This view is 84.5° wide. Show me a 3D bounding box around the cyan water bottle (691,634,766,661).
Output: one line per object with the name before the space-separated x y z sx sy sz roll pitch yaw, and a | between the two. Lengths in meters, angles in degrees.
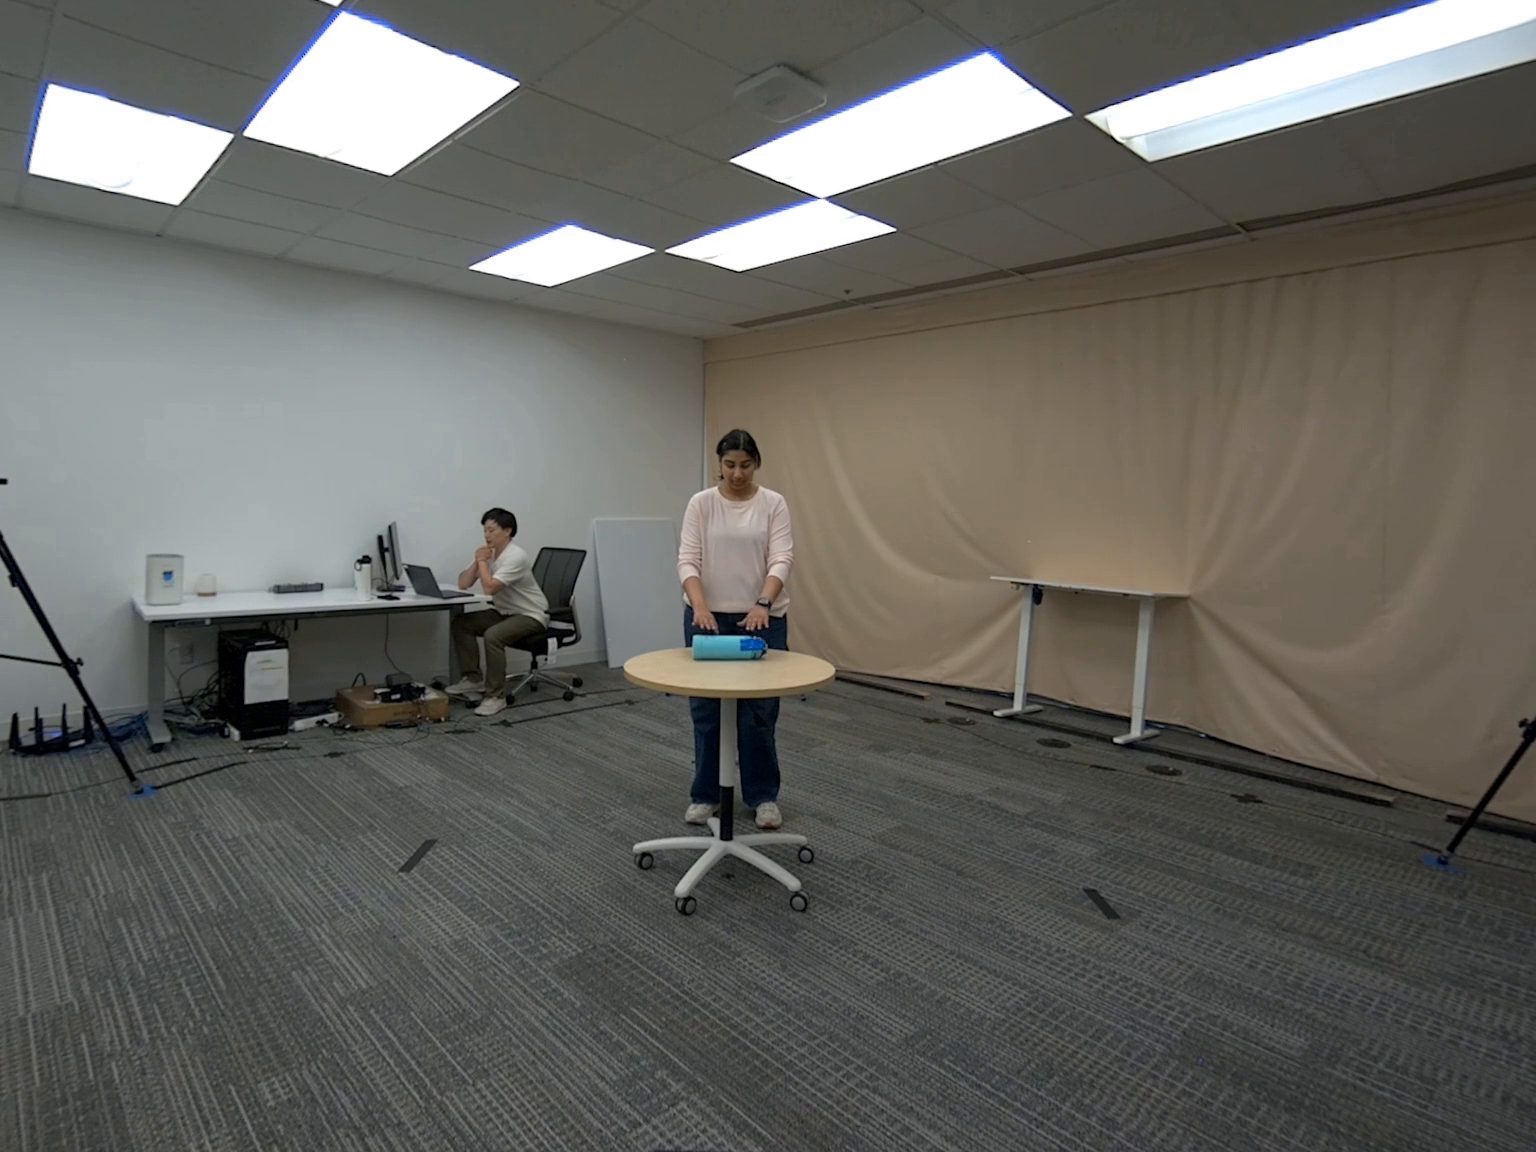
cyan water bottle | -0.151 0.271 3.177 0.282 0.092 0.093 1 4 -4
